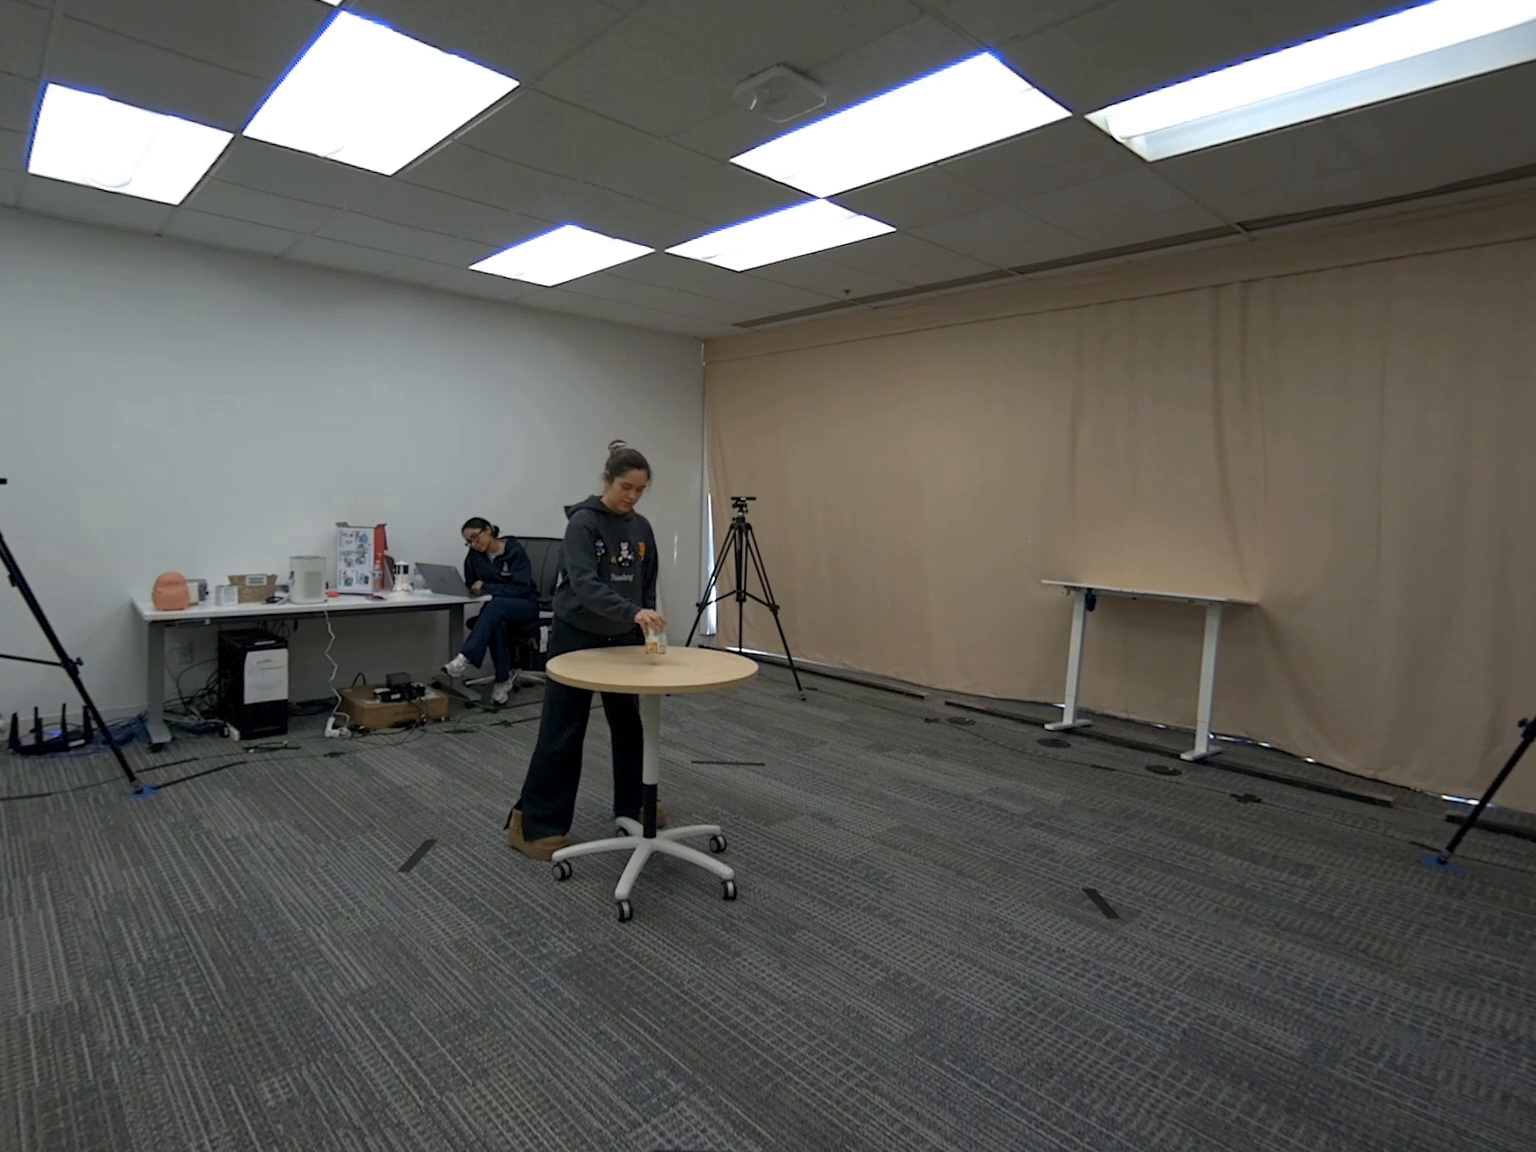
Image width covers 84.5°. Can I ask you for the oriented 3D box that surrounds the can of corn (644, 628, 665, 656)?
[{"bbox_3d":[-0.447,0.224,3.090,0.074,0.111,0.074,0,3,-1],"label":"can of corn"}]
